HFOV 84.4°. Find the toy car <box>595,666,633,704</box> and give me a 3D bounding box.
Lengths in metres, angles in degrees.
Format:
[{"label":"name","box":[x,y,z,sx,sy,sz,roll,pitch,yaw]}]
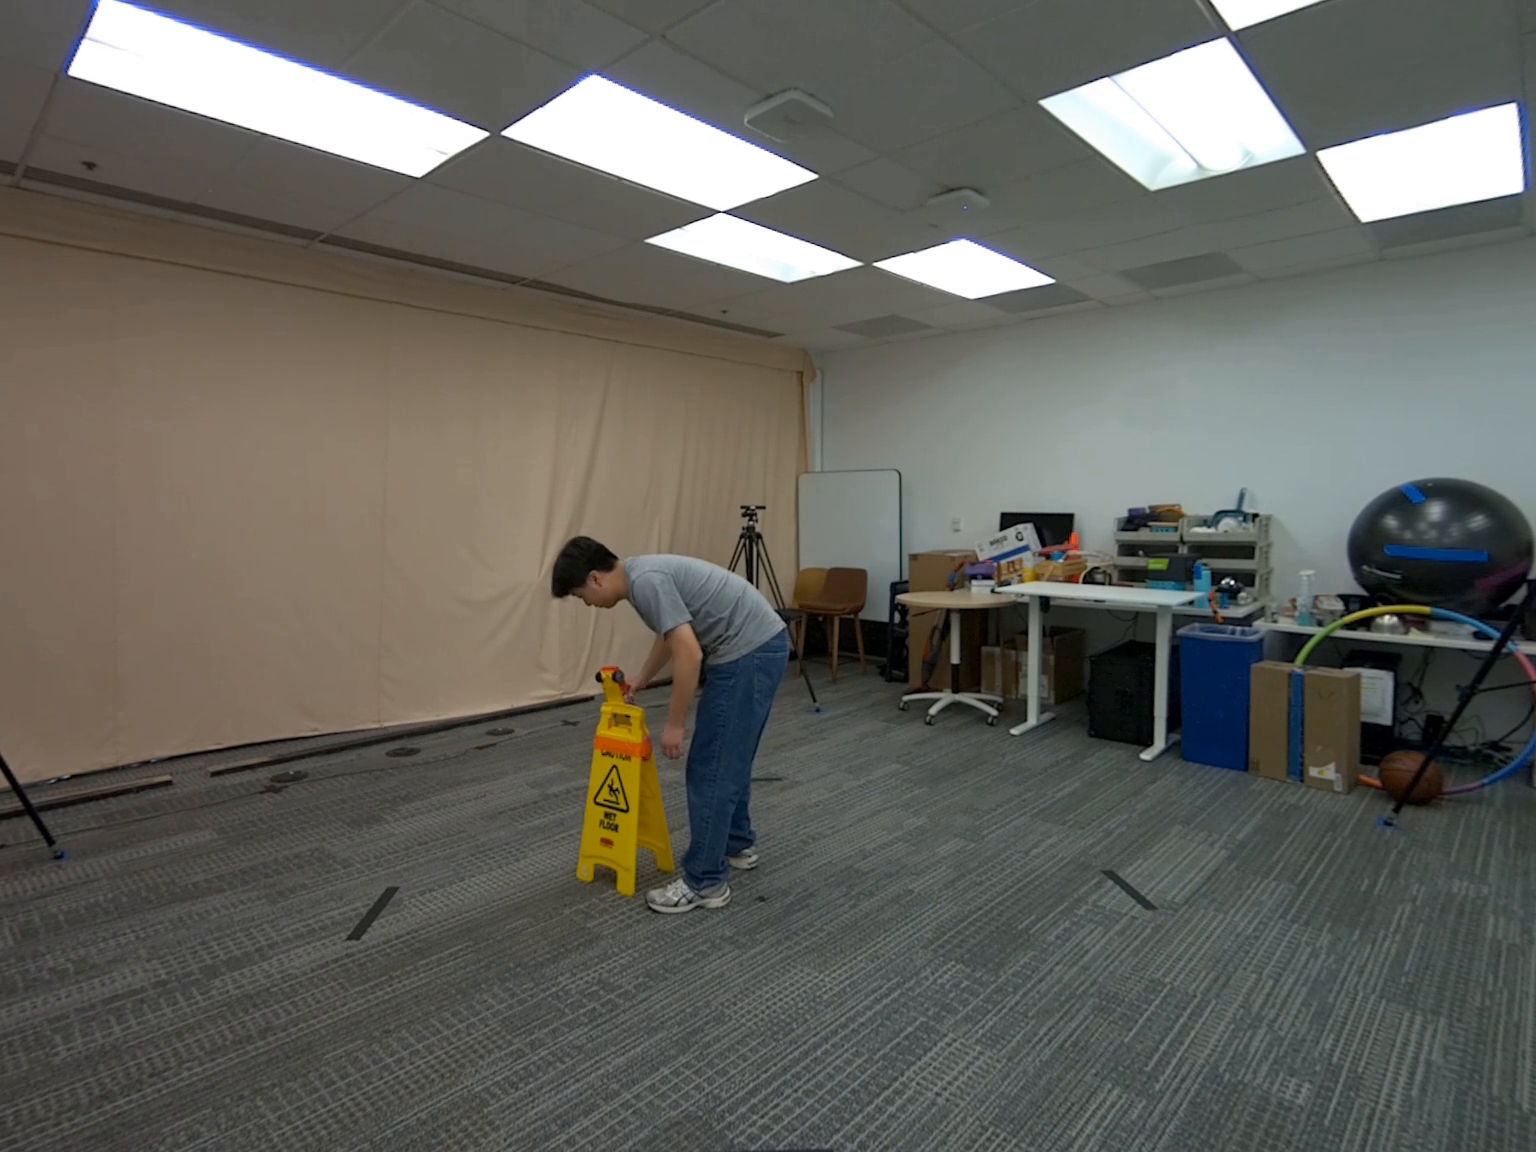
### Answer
[{"label":"toy car","box":[-0.565,0.480,3.211,0.134,0.249,0.083,-8,27,33]}]
